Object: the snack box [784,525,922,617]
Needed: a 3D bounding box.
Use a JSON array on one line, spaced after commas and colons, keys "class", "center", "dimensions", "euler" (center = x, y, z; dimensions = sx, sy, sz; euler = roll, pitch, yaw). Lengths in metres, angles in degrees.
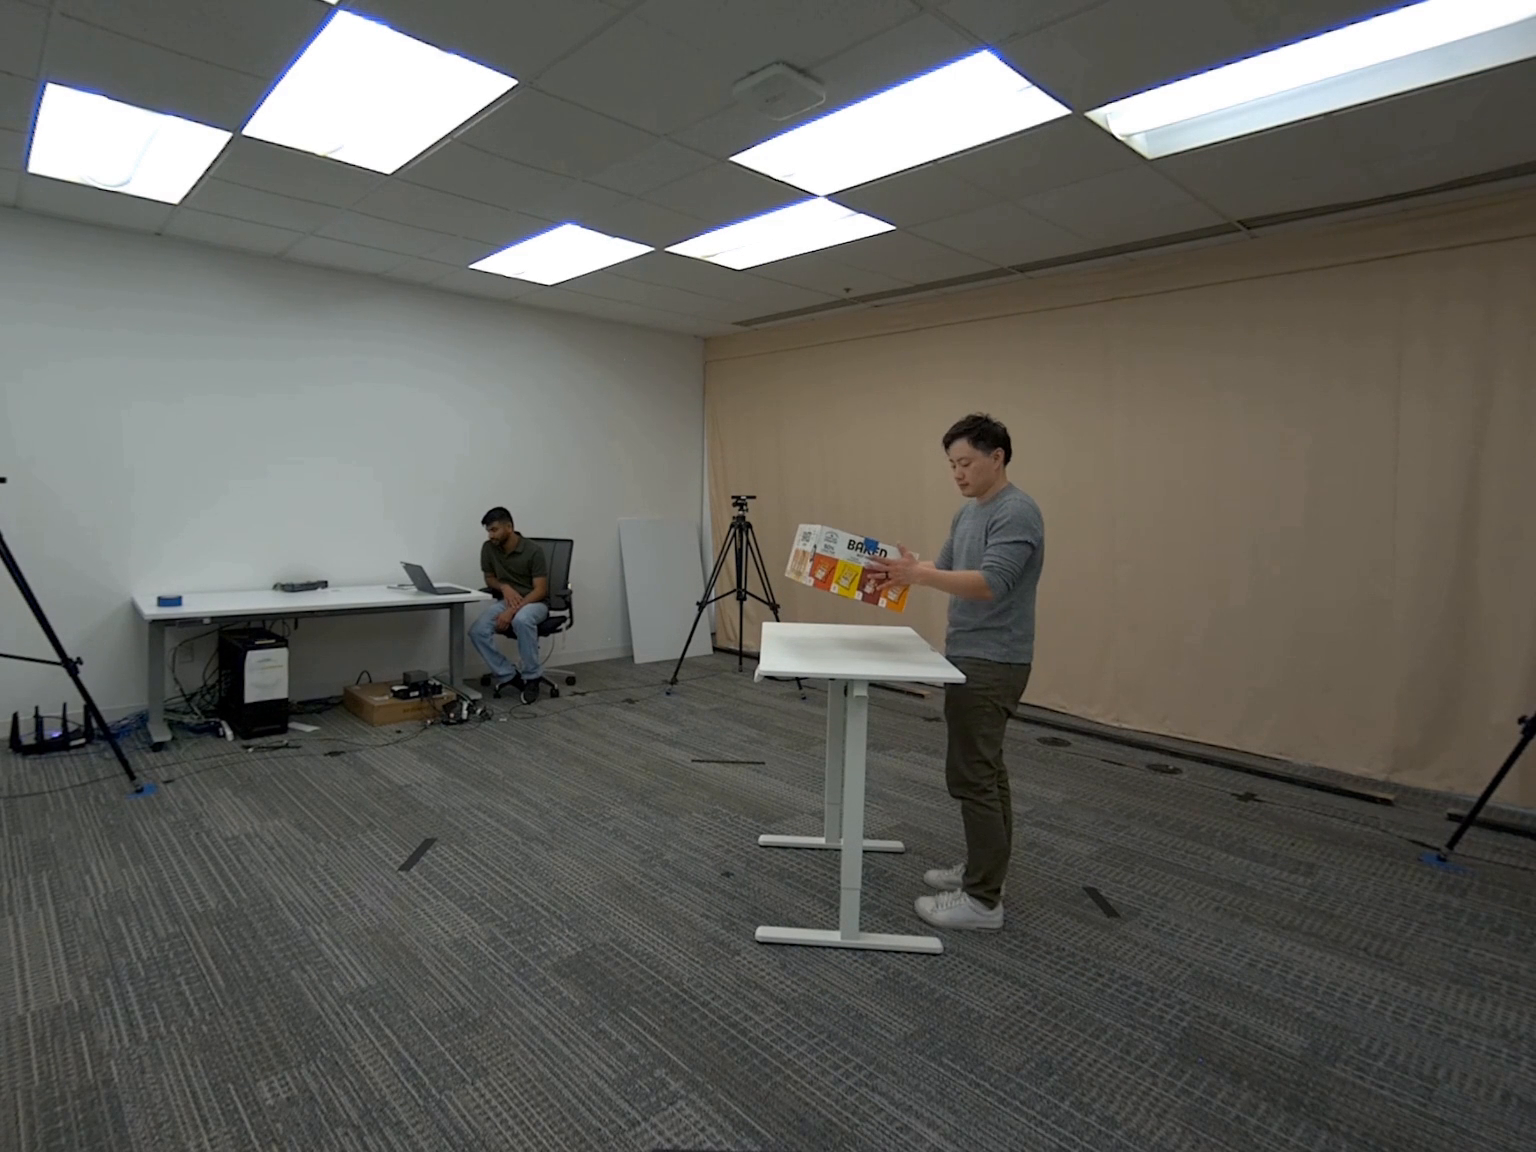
[{"class": "snack box", "center": [0.277, -0.028, 2.924], "dimensions": [0.338, 0.205, 0.407], "euler": [17, 1, -7]}]
